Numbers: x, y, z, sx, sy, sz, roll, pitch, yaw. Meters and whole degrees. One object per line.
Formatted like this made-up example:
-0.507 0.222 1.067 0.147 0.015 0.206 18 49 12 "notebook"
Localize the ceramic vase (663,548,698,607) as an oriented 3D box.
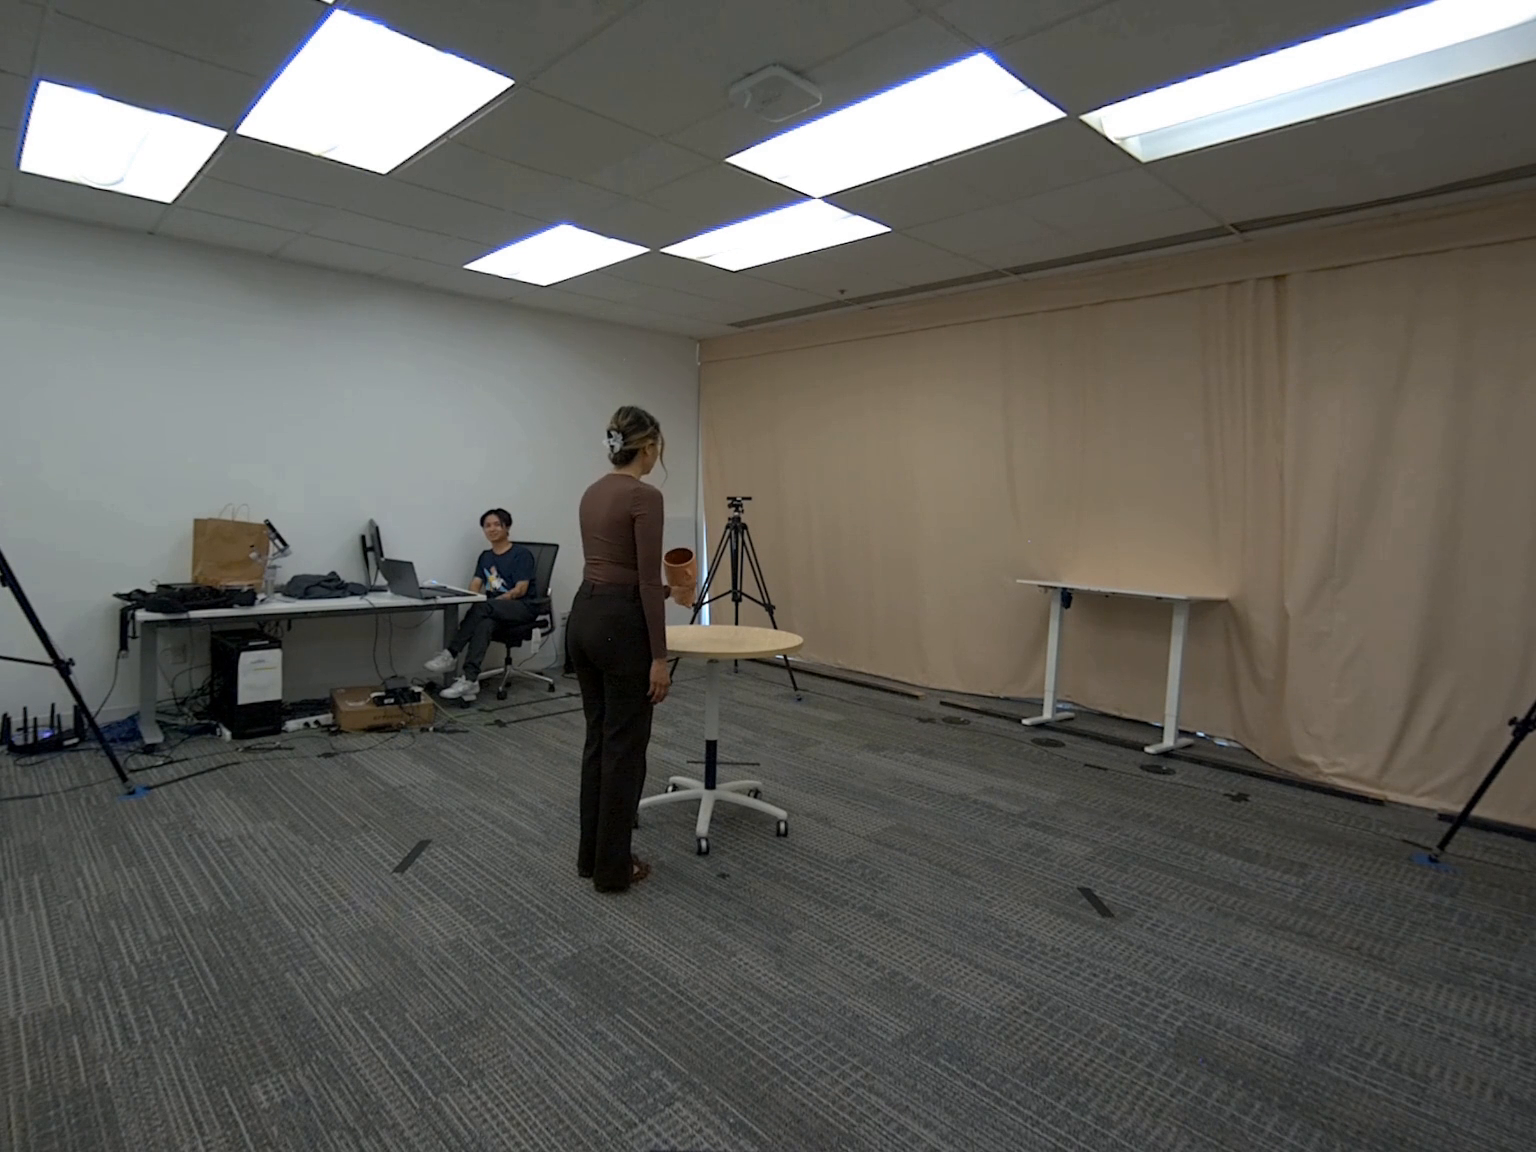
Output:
-0.383 0.008 3.456 0.136 0.214 0.161 0 36 11 "ceramic vase"
